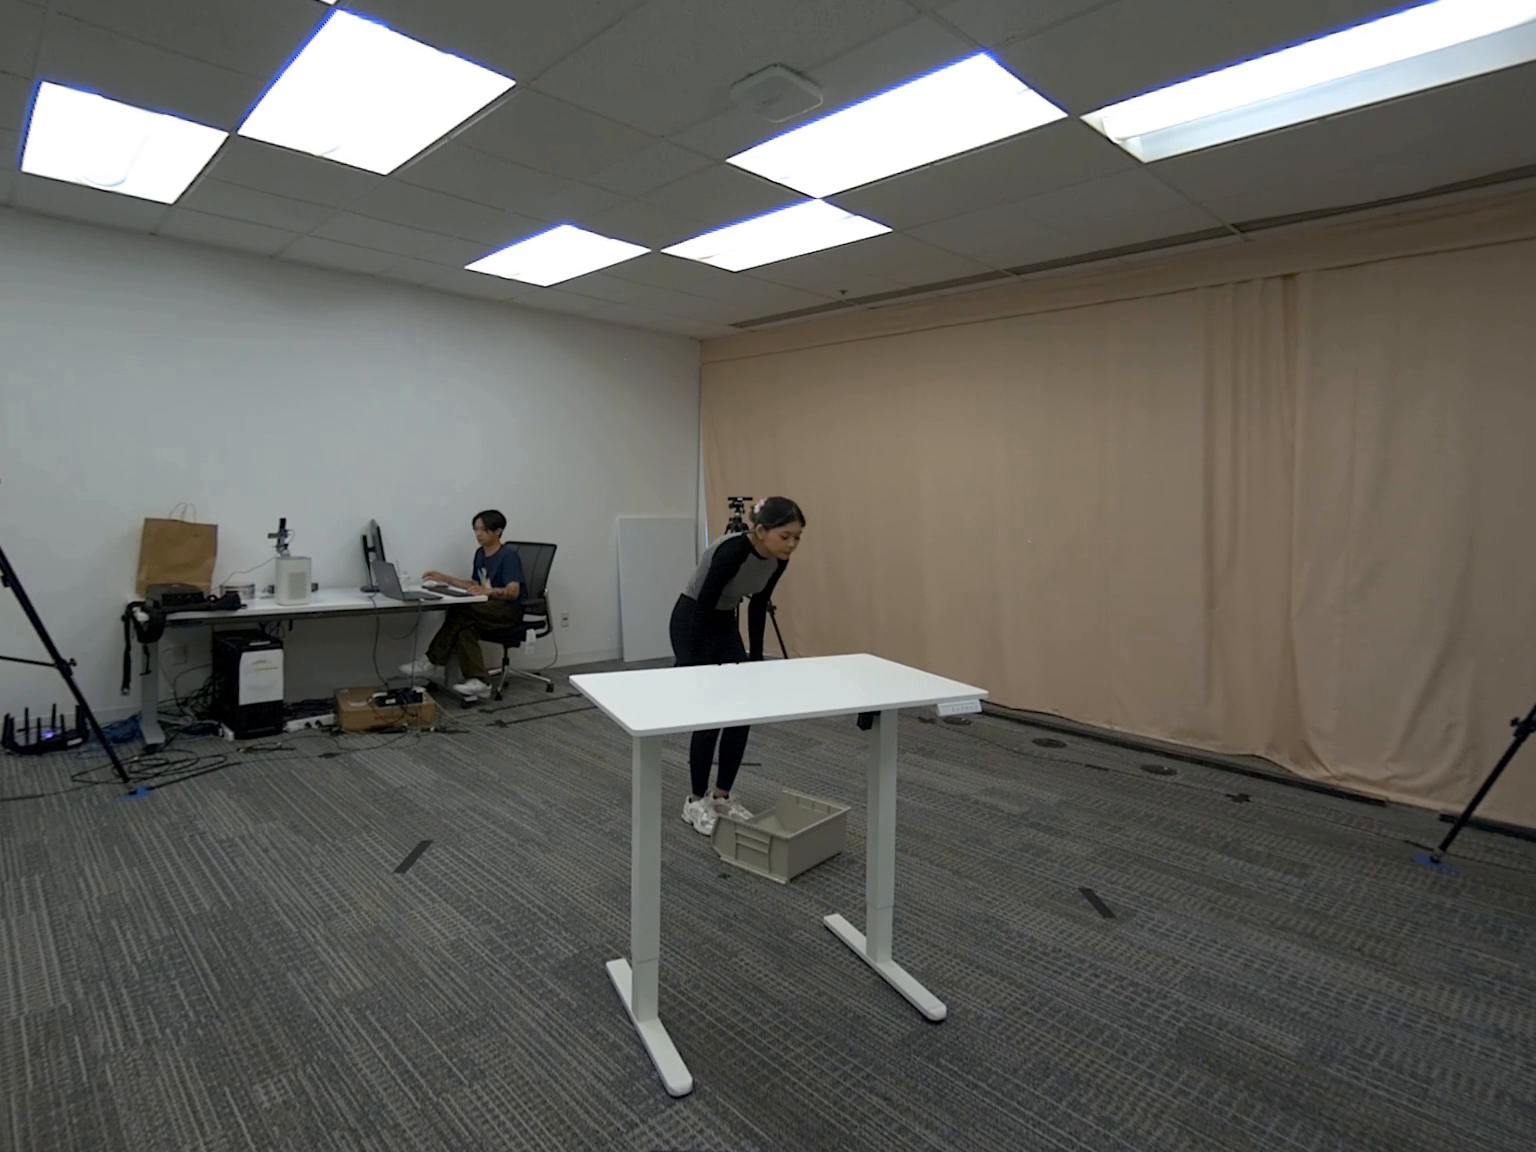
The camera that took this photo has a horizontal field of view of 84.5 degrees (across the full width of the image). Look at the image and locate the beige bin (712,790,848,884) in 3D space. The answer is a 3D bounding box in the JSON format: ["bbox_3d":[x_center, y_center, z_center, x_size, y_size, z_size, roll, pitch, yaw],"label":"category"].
[{"bbox_3d":[0.048,1.004,3.305,0.387,0.188,0.413,6,6,39],"label":"beige bin"}]
